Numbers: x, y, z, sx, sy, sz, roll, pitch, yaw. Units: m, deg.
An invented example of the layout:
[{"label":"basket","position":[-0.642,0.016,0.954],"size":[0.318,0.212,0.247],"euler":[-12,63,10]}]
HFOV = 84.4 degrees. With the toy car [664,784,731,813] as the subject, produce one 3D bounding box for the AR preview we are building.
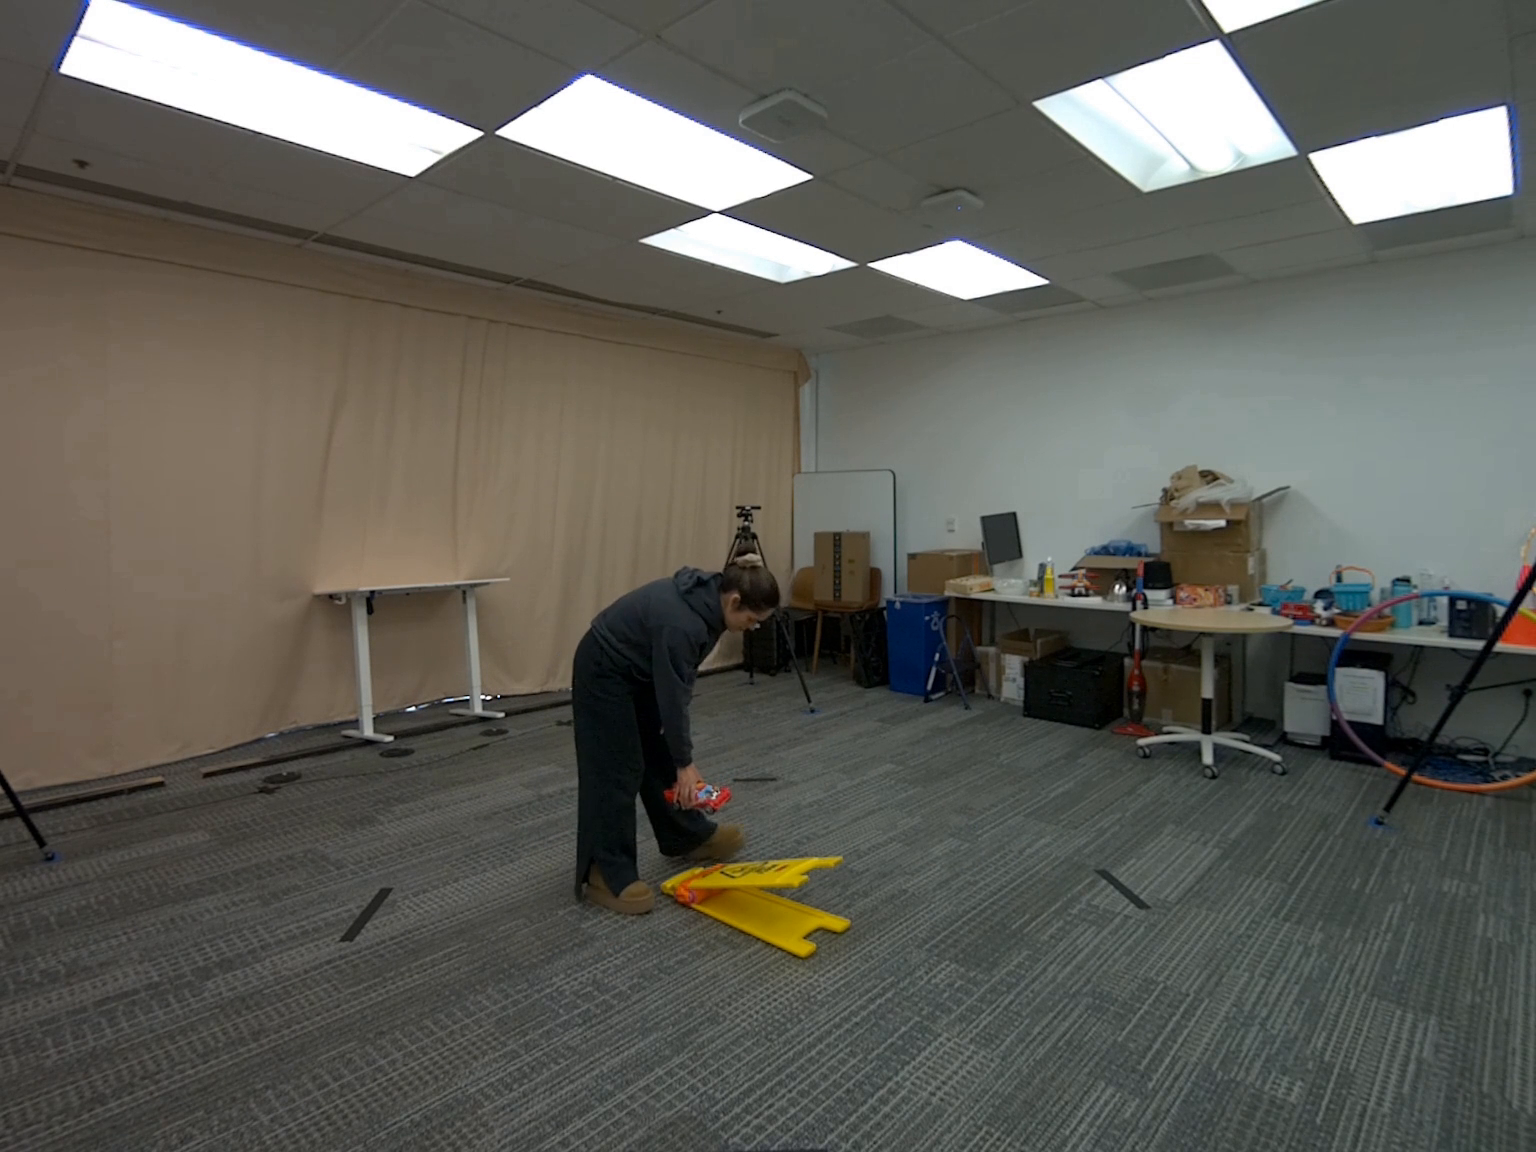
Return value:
[{"label":"toy car","position":[-0.227,0.785,2.971],"size":[0.263,0.082,0.127],"euler":[5,20,36]}]
